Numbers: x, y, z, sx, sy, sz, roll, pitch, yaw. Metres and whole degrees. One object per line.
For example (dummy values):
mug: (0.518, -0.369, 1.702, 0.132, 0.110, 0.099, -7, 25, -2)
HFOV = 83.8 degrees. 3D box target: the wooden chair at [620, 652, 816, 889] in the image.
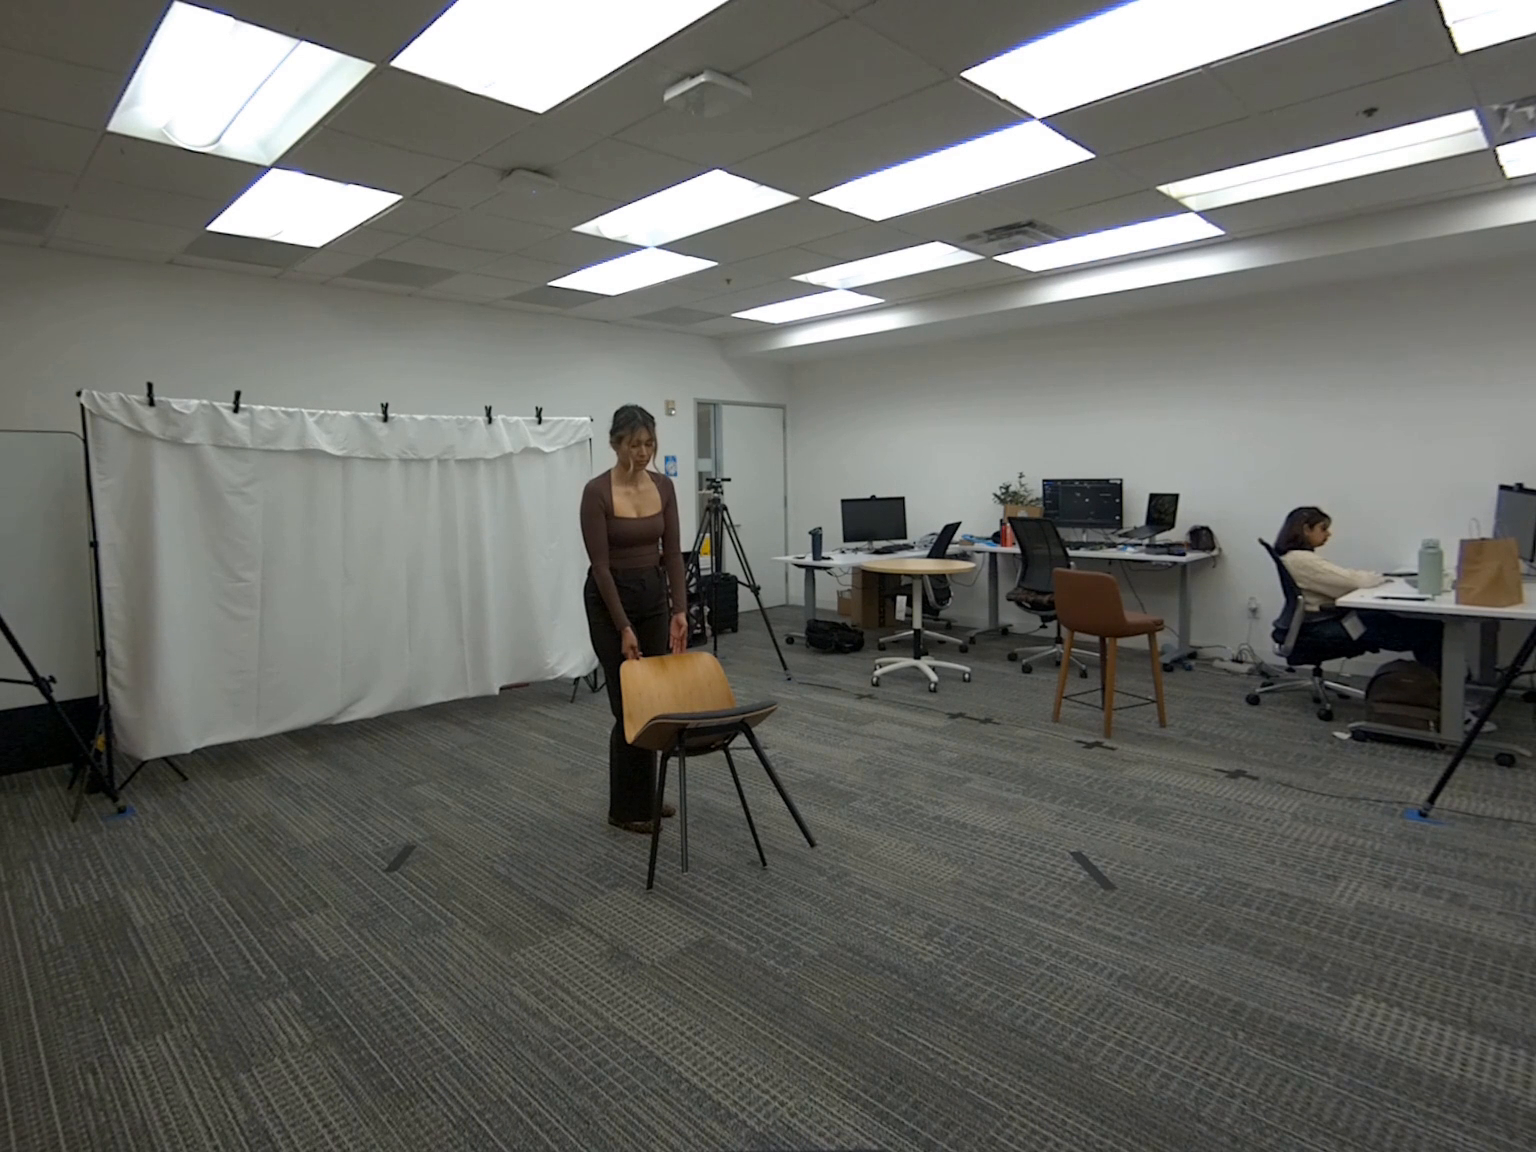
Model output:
wooden chair: (-0.221, 0.573, 2.969, 0.469, 0.902, 0.519, -3, -30, -23)
